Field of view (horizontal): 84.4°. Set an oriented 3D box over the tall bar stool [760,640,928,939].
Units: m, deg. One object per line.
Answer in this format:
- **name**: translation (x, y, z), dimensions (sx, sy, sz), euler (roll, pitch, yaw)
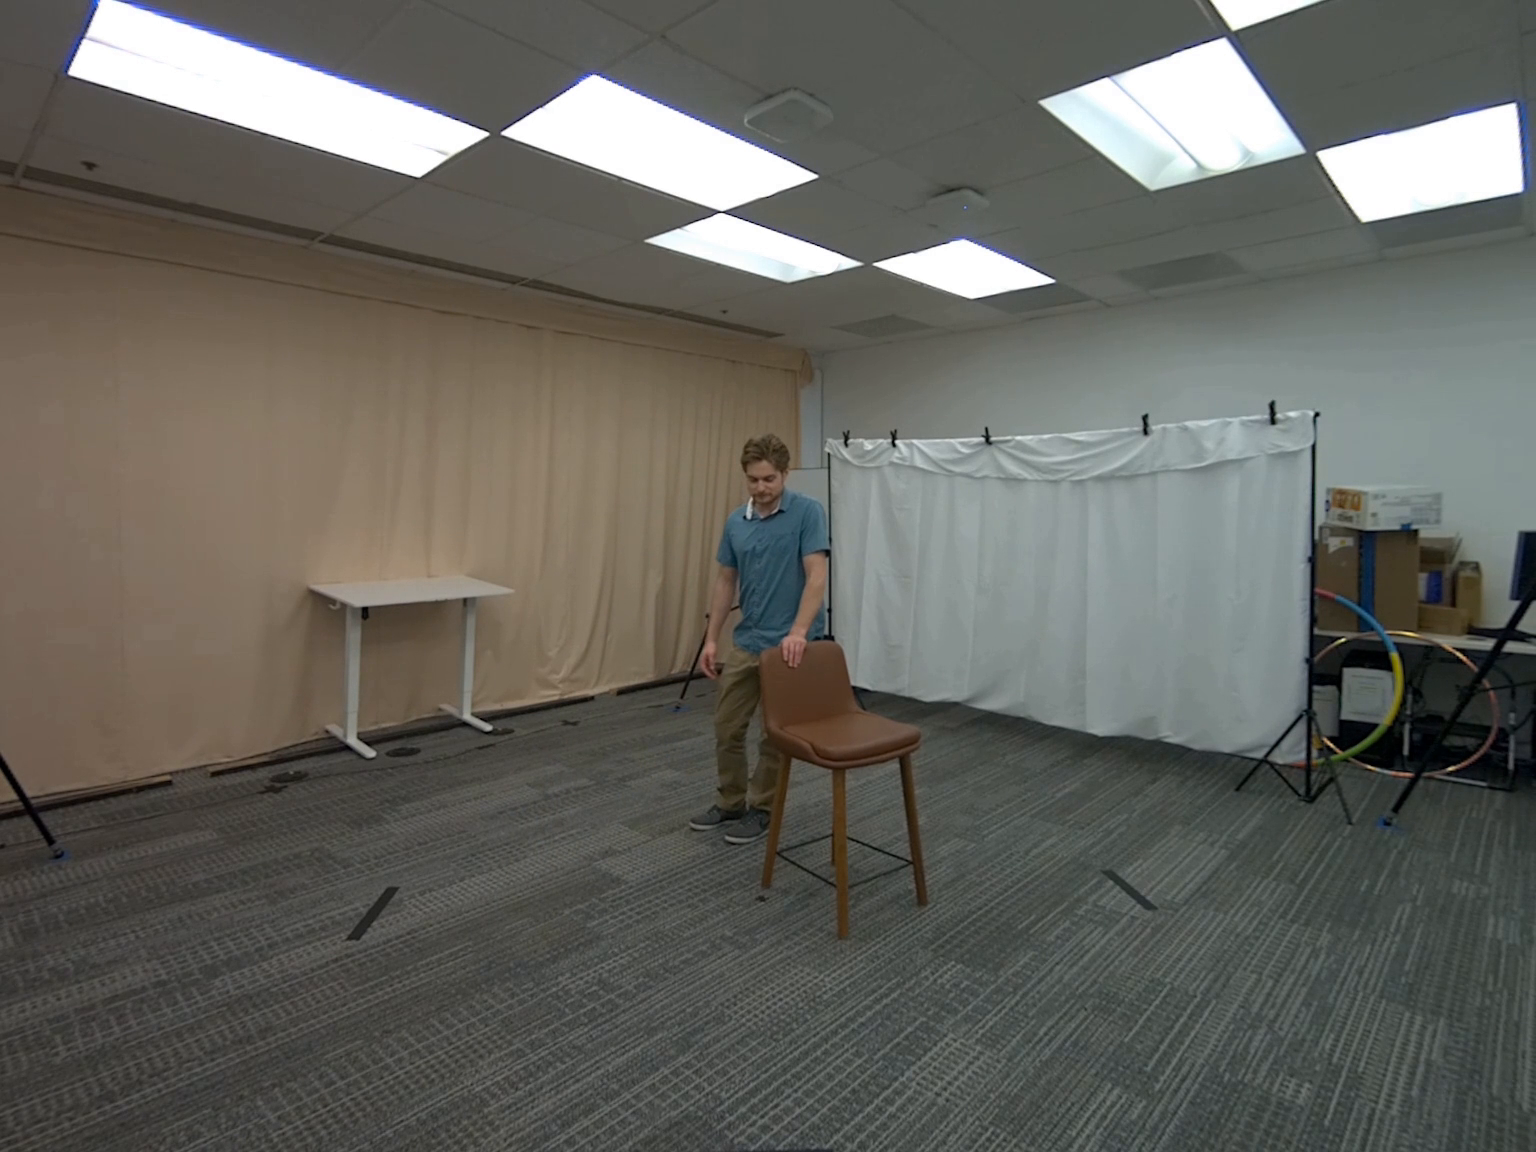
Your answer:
- **tall bar stool**: translation (0.258, 0.706, 2.983), dimensions (0.443, 0.889, 0.482), euler (-3, 2, -37)
